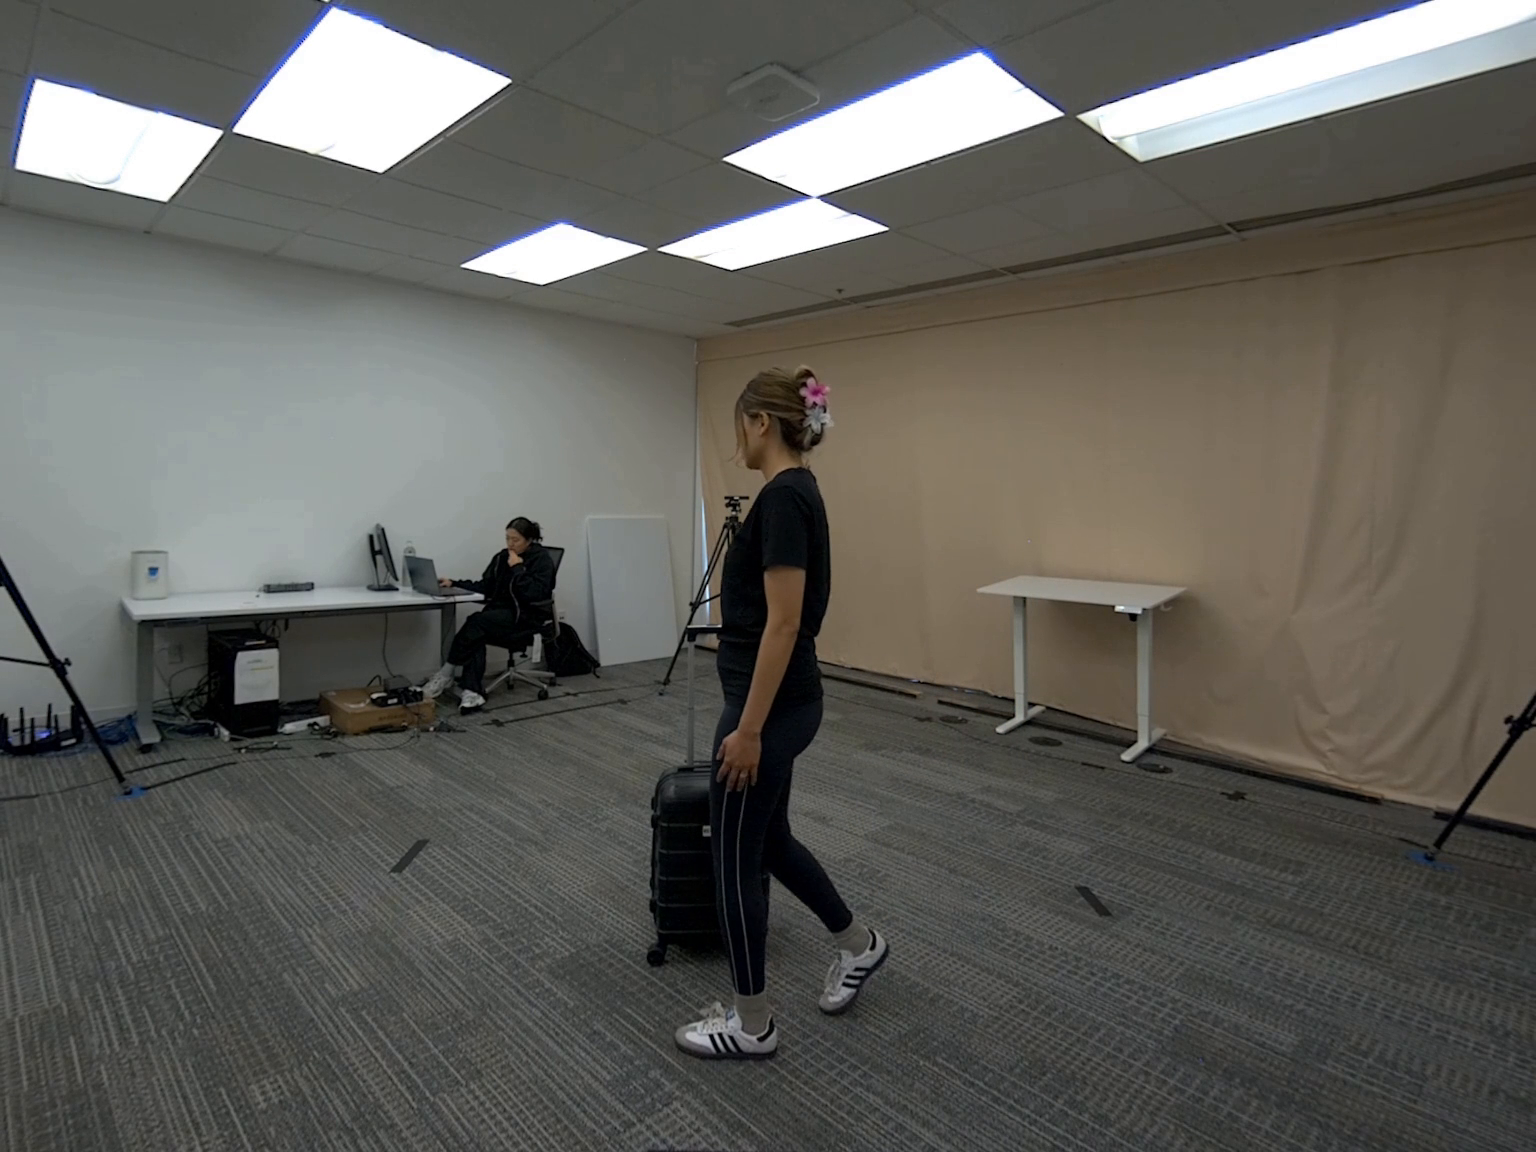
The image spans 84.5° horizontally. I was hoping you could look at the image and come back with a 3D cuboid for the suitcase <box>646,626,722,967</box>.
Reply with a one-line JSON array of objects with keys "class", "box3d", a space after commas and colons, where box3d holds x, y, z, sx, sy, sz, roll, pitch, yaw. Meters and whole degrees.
[{"class": "suitcase", "box3d": [-0.180, 0.677, 2.581, 0.383, 0.975, 0.259, 1, 5, -4]}]
